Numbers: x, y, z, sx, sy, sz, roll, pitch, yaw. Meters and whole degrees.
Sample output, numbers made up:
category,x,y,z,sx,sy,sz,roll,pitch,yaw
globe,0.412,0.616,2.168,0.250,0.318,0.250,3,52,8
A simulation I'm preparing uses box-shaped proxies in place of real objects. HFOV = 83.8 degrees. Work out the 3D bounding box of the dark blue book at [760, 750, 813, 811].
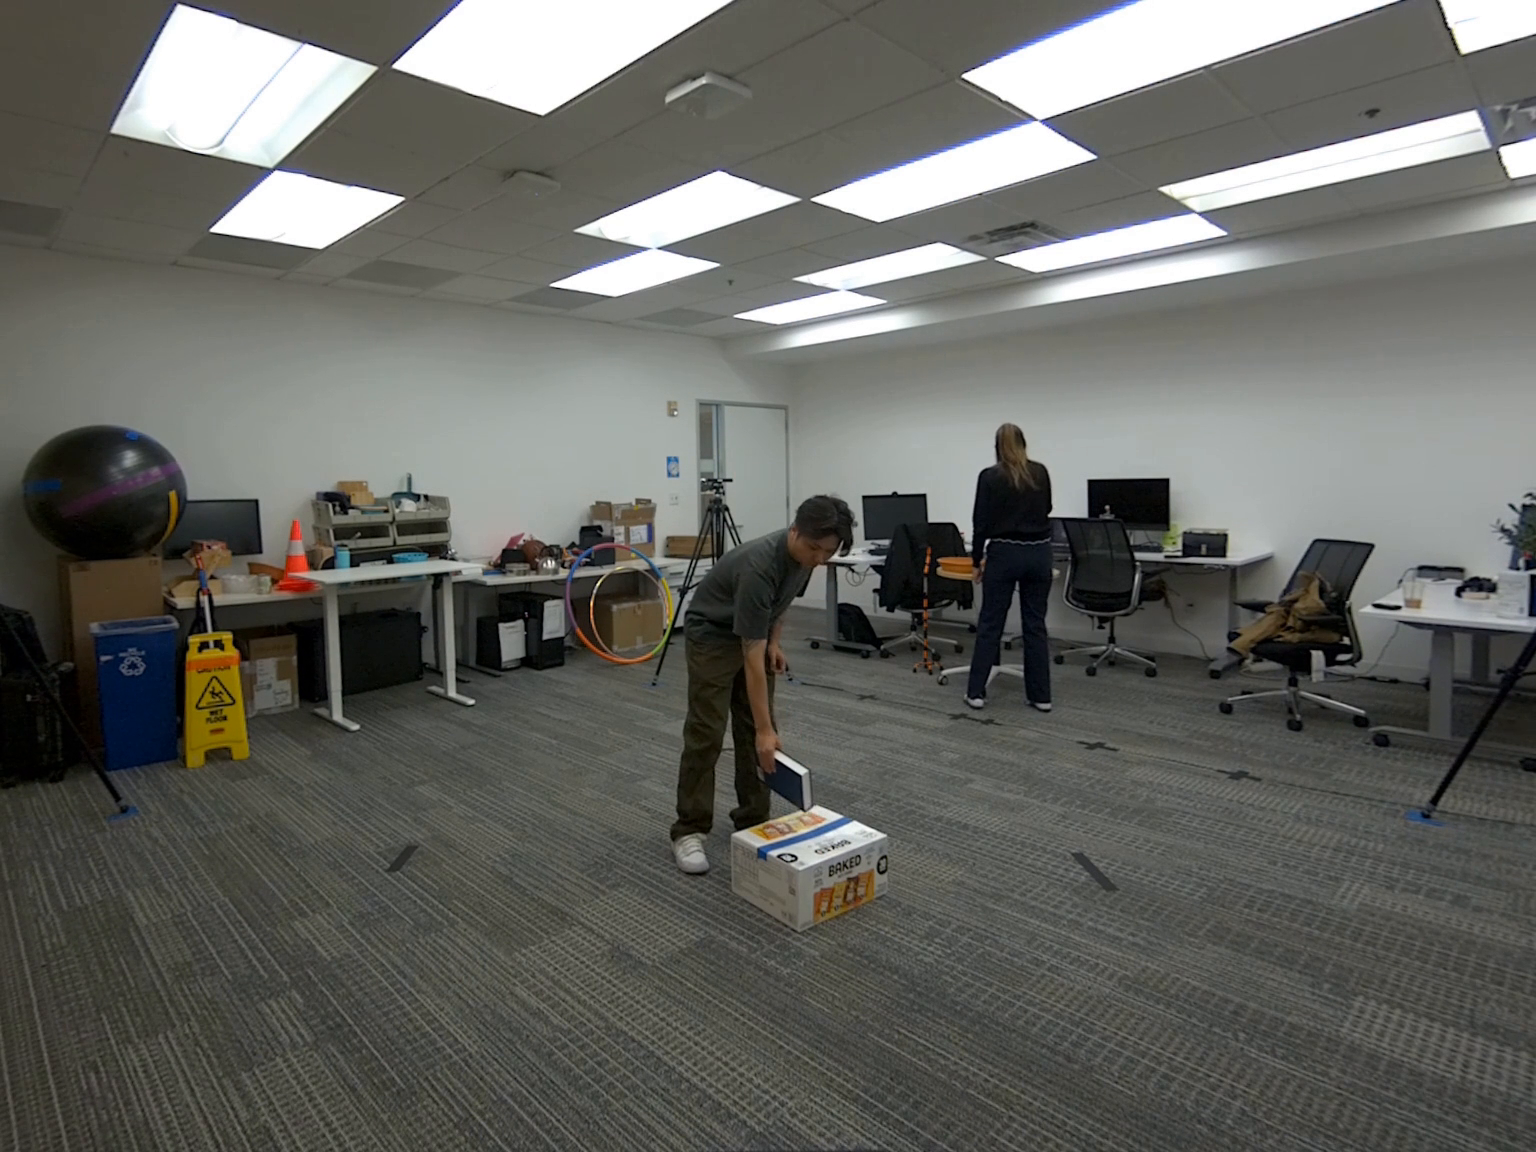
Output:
category,x,y,z,sx,sy,sz,roll,pitch,yaw
dark blue book,0.054,0.697,2.971,0.044,0.160,0.254,-21,28,-33
